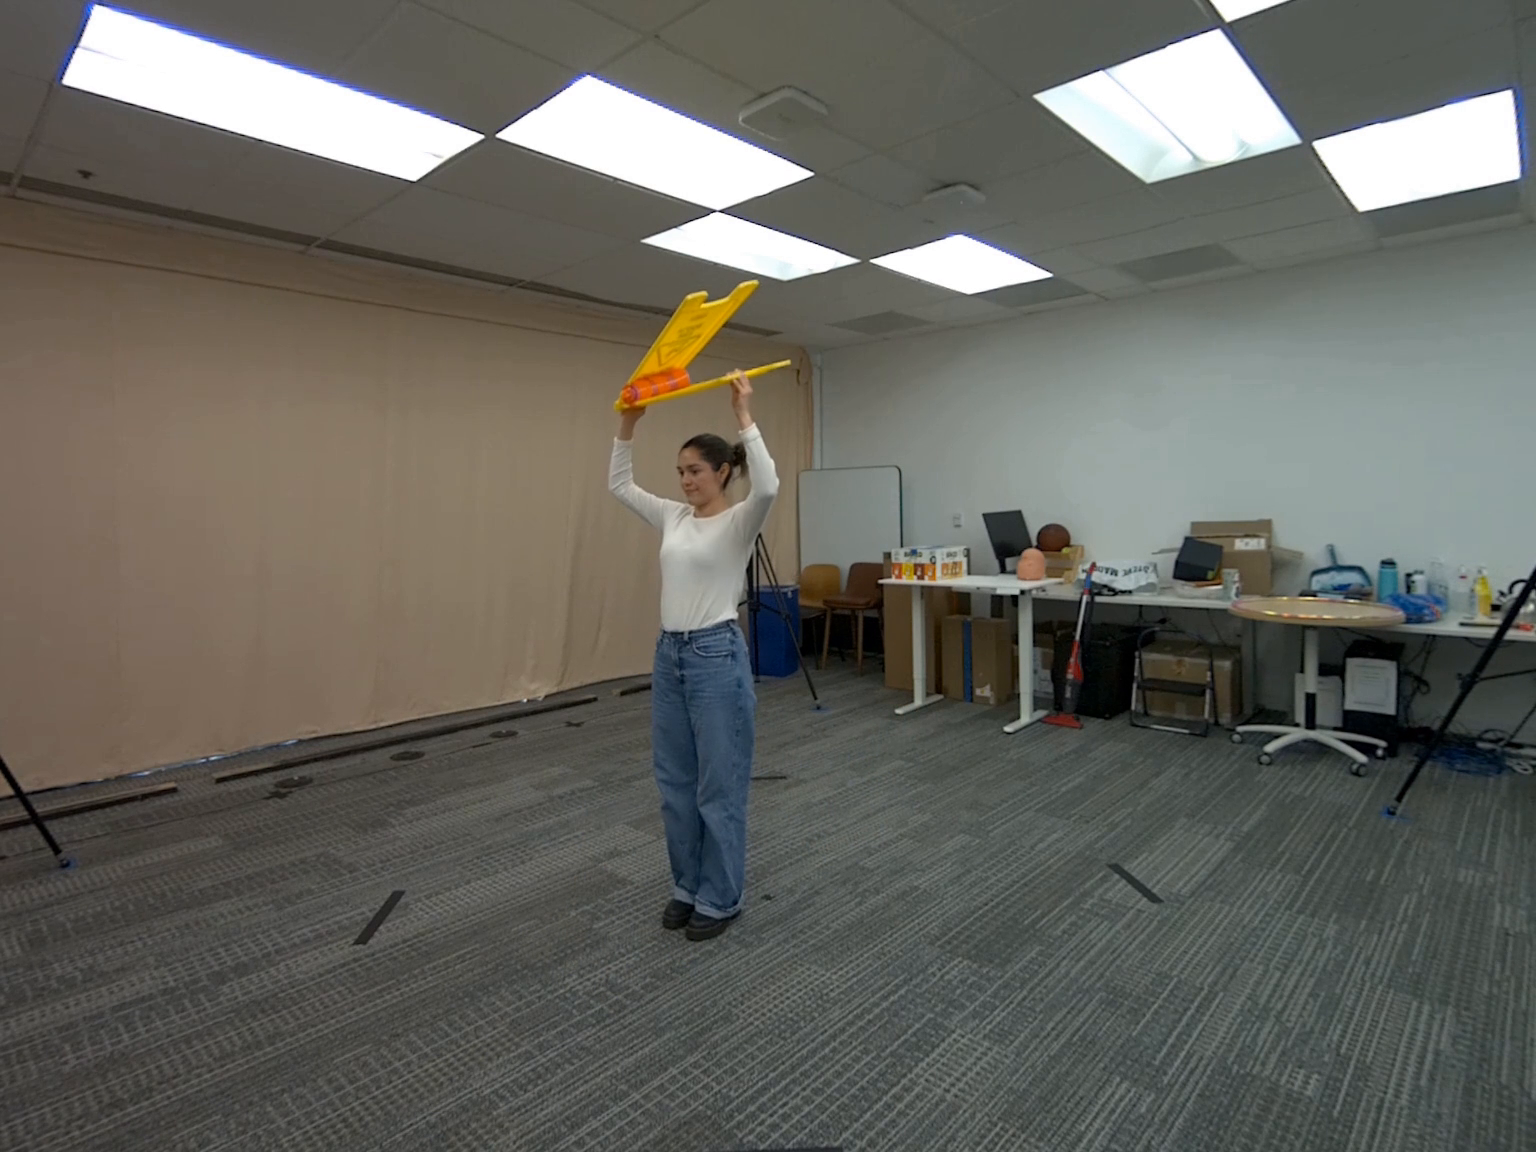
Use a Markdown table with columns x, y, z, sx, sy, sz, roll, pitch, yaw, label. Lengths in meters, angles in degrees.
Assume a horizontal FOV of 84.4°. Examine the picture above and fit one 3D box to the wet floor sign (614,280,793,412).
| x | y | z | sx | sy | sz | roll | pitch | yaw | label |
| --- | --- | --- | --- | --- | --- | --- | --- | --- | --- |
| -0.272 | -0.656 | 2.680 | 0.276 | 0.288 | 0.662 | -25 | 7 | -38 | wet floor sign |
